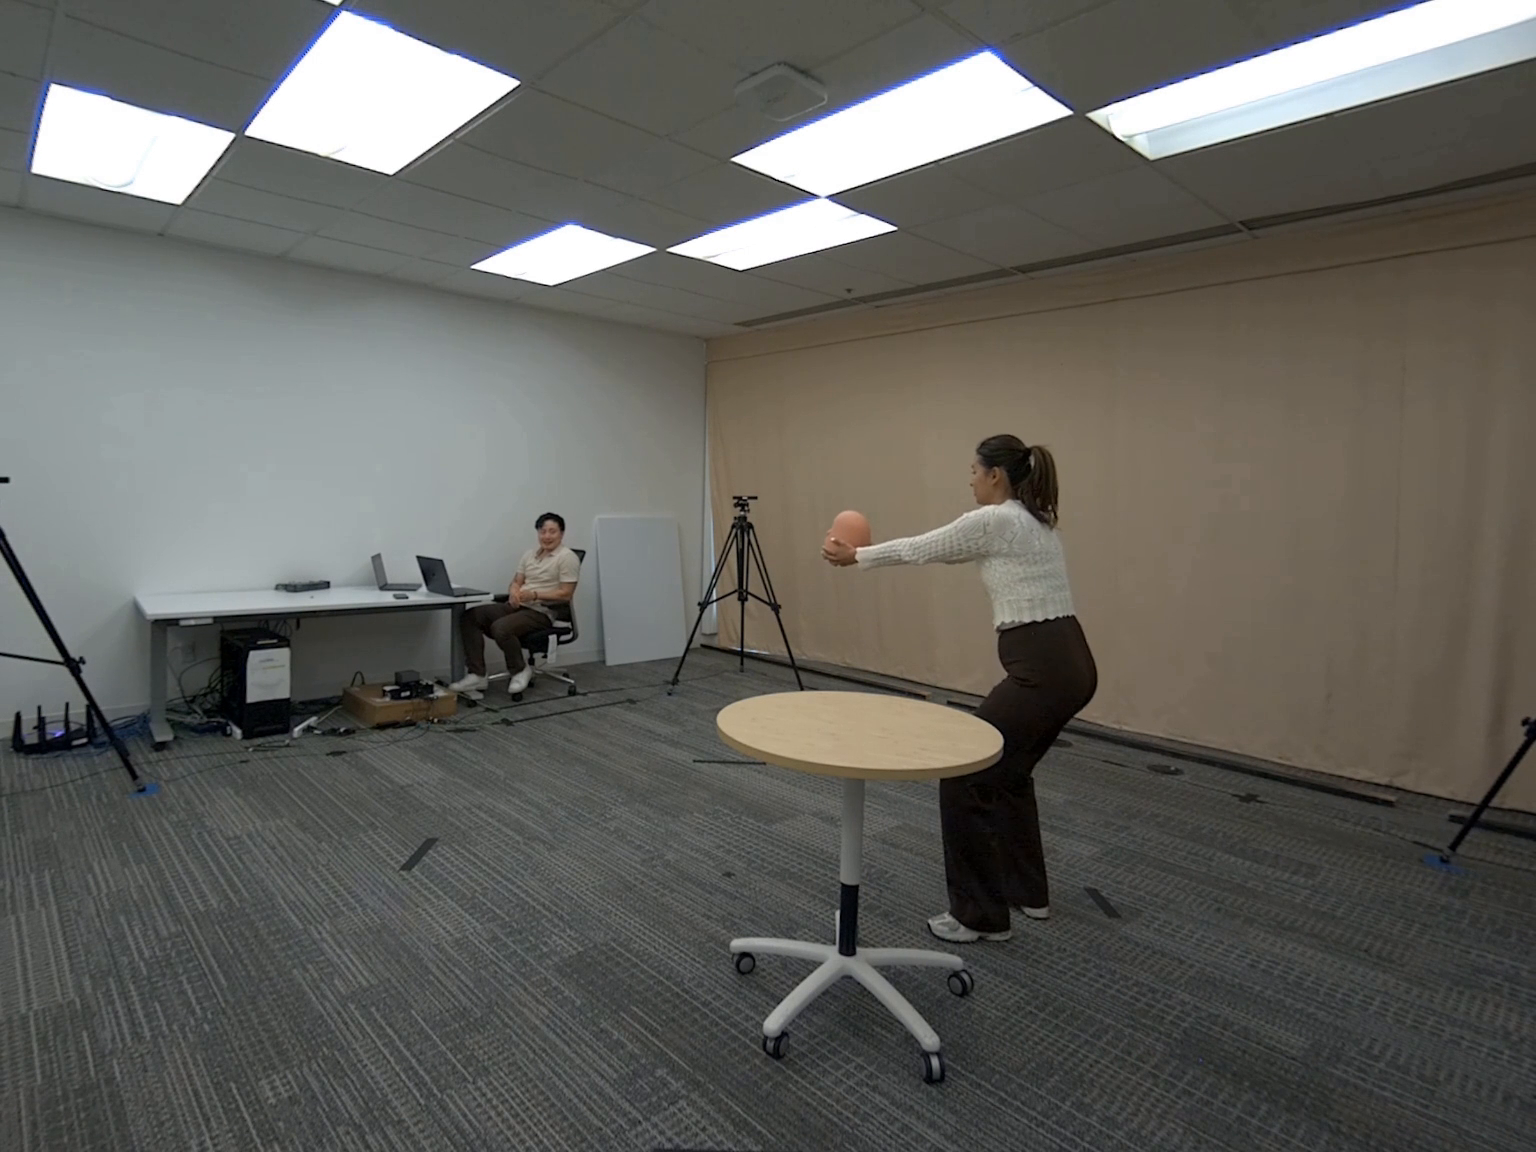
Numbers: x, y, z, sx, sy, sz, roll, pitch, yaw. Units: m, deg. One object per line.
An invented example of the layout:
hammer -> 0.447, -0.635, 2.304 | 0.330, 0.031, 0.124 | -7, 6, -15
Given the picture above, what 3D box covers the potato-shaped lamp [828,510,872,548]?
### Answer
potato-shaped lamp -> 0.301, -0.145, 3.192 | 0.161, 0.197, 0.176 | -3, 9, -45
